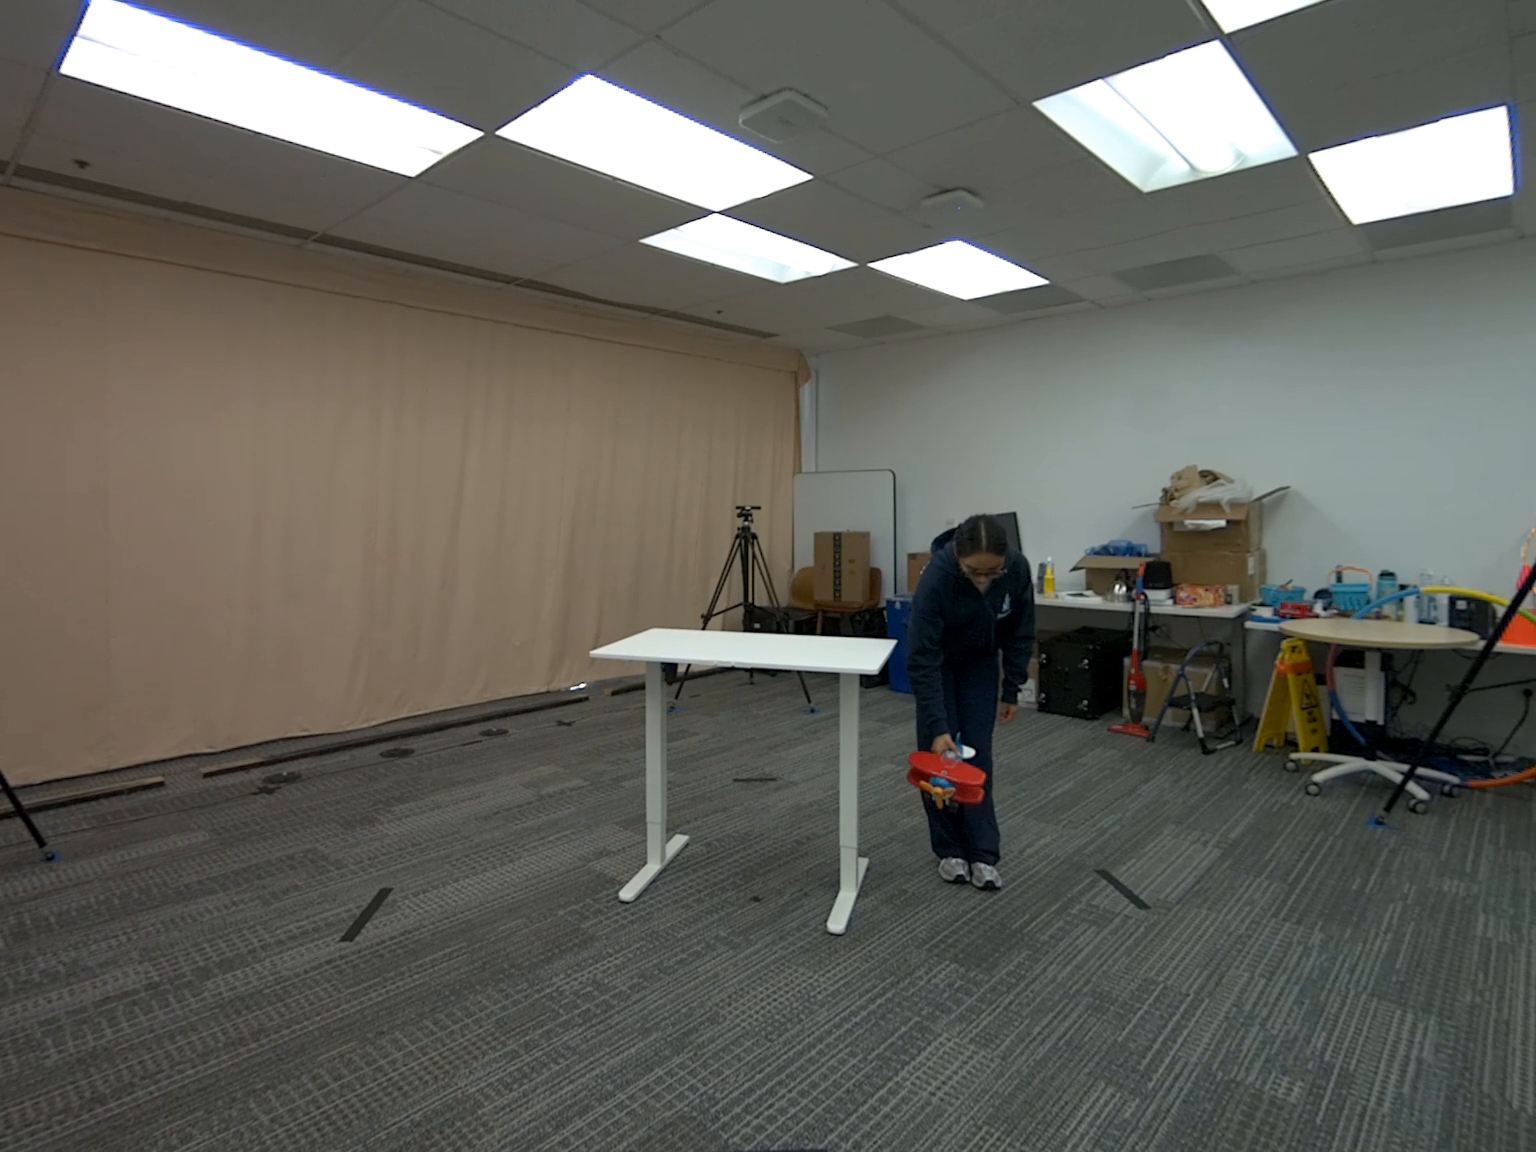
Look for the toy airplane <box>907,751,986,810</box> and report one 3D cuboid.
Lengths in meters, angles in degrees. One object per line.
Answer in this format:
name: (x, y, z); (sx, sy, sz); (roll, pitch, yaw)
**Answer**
toy airplane: (0.623, 0.655, 2.873); (0.252, 0.152, 0.265); (-10, 43, 5)
